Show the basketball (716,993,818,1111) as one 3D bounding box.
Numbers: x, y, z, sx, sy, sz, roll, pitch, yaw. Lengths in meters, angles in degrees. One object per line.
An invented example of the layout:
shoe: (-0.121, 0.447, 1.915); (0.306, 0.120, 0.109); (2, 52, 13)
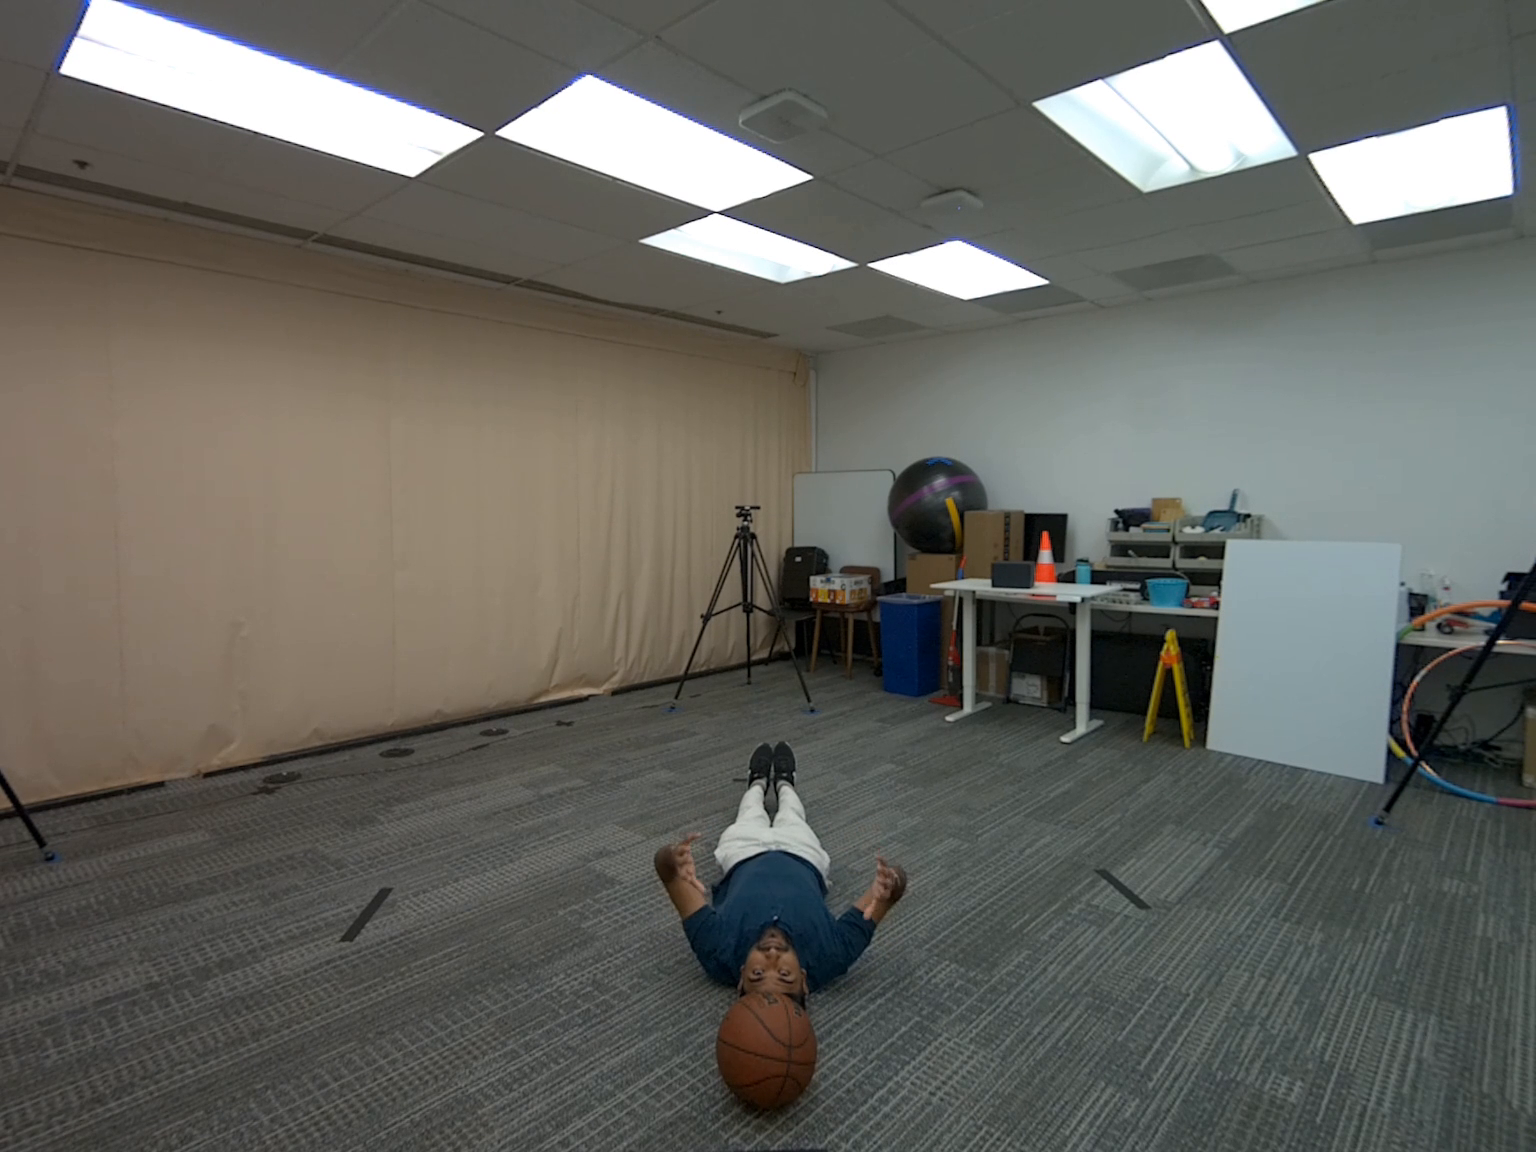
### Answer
basketball: (0.001, 1.109, 1.969); (0.236, 0.235, 0.237); (0, 4, -2)
